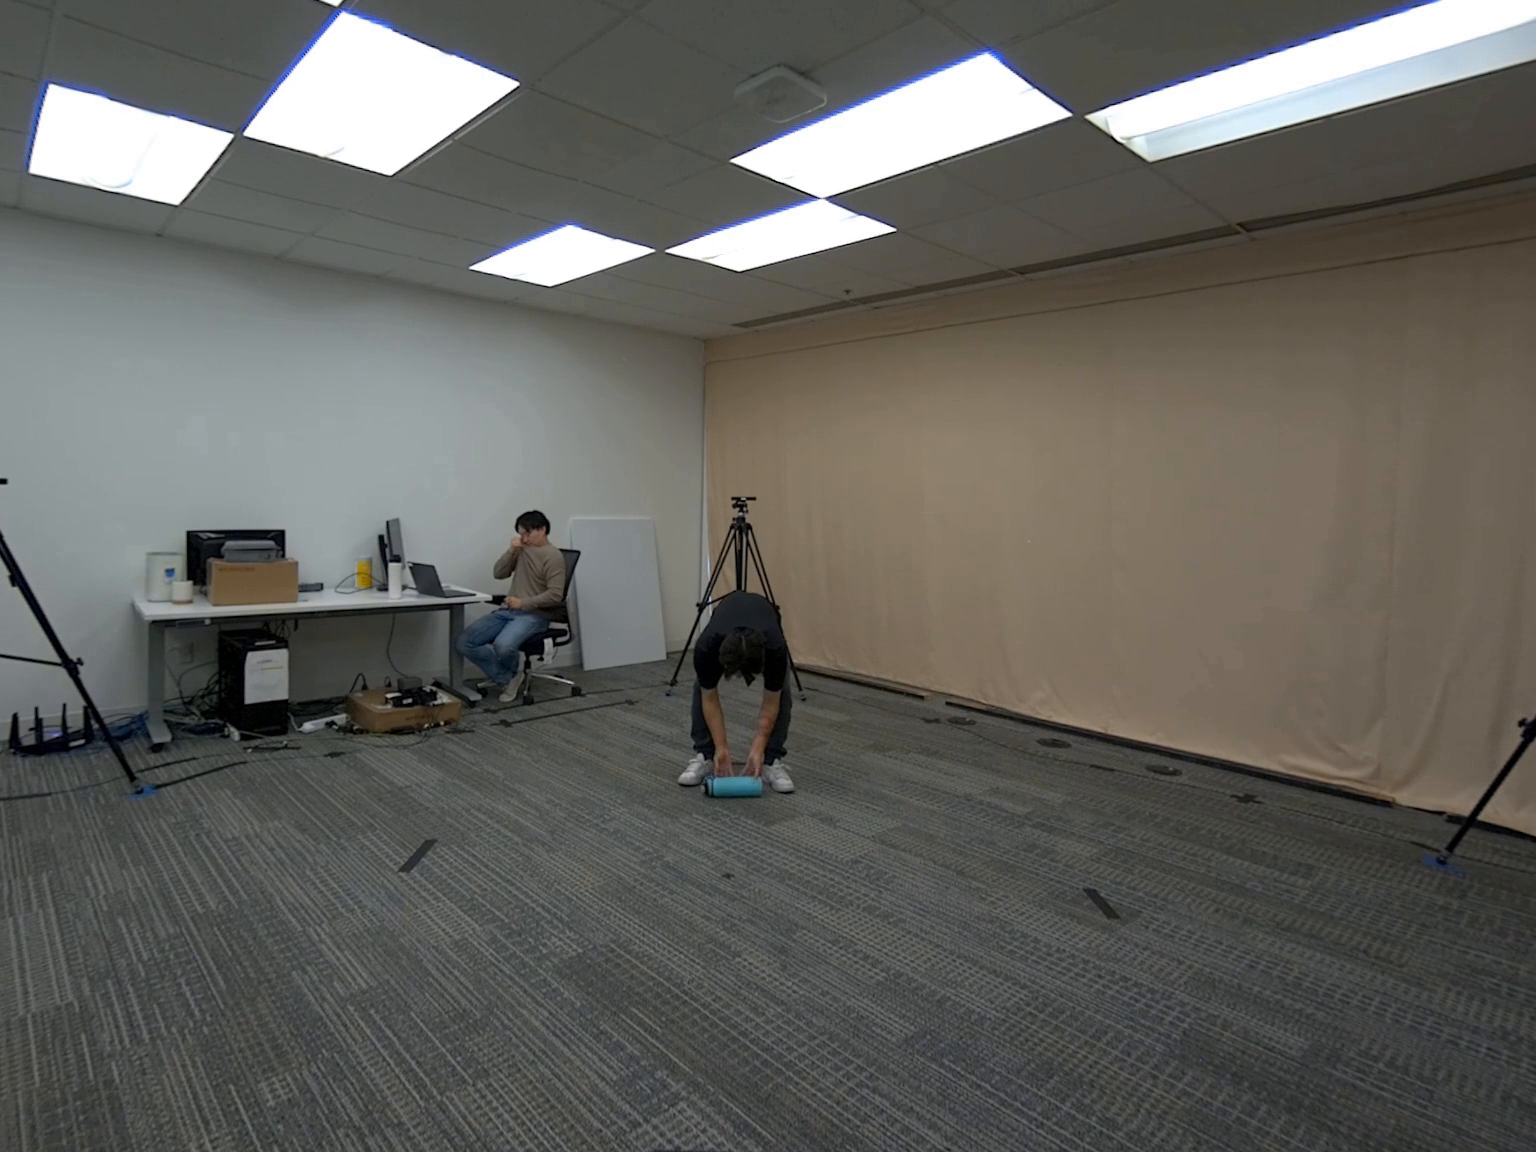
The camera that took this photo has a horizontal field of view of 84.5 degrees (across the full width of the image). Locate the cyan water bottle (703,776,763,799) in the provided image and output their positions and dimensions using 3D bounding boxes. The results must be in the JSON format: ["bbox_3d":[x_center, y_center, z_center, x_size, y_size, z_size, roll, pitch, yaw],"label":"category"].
[{"bbox_3d":[-0.186,0.990,3.948,0.282,0.092,0.093,1,4,-5],"label":"cyan water bottle"}]
